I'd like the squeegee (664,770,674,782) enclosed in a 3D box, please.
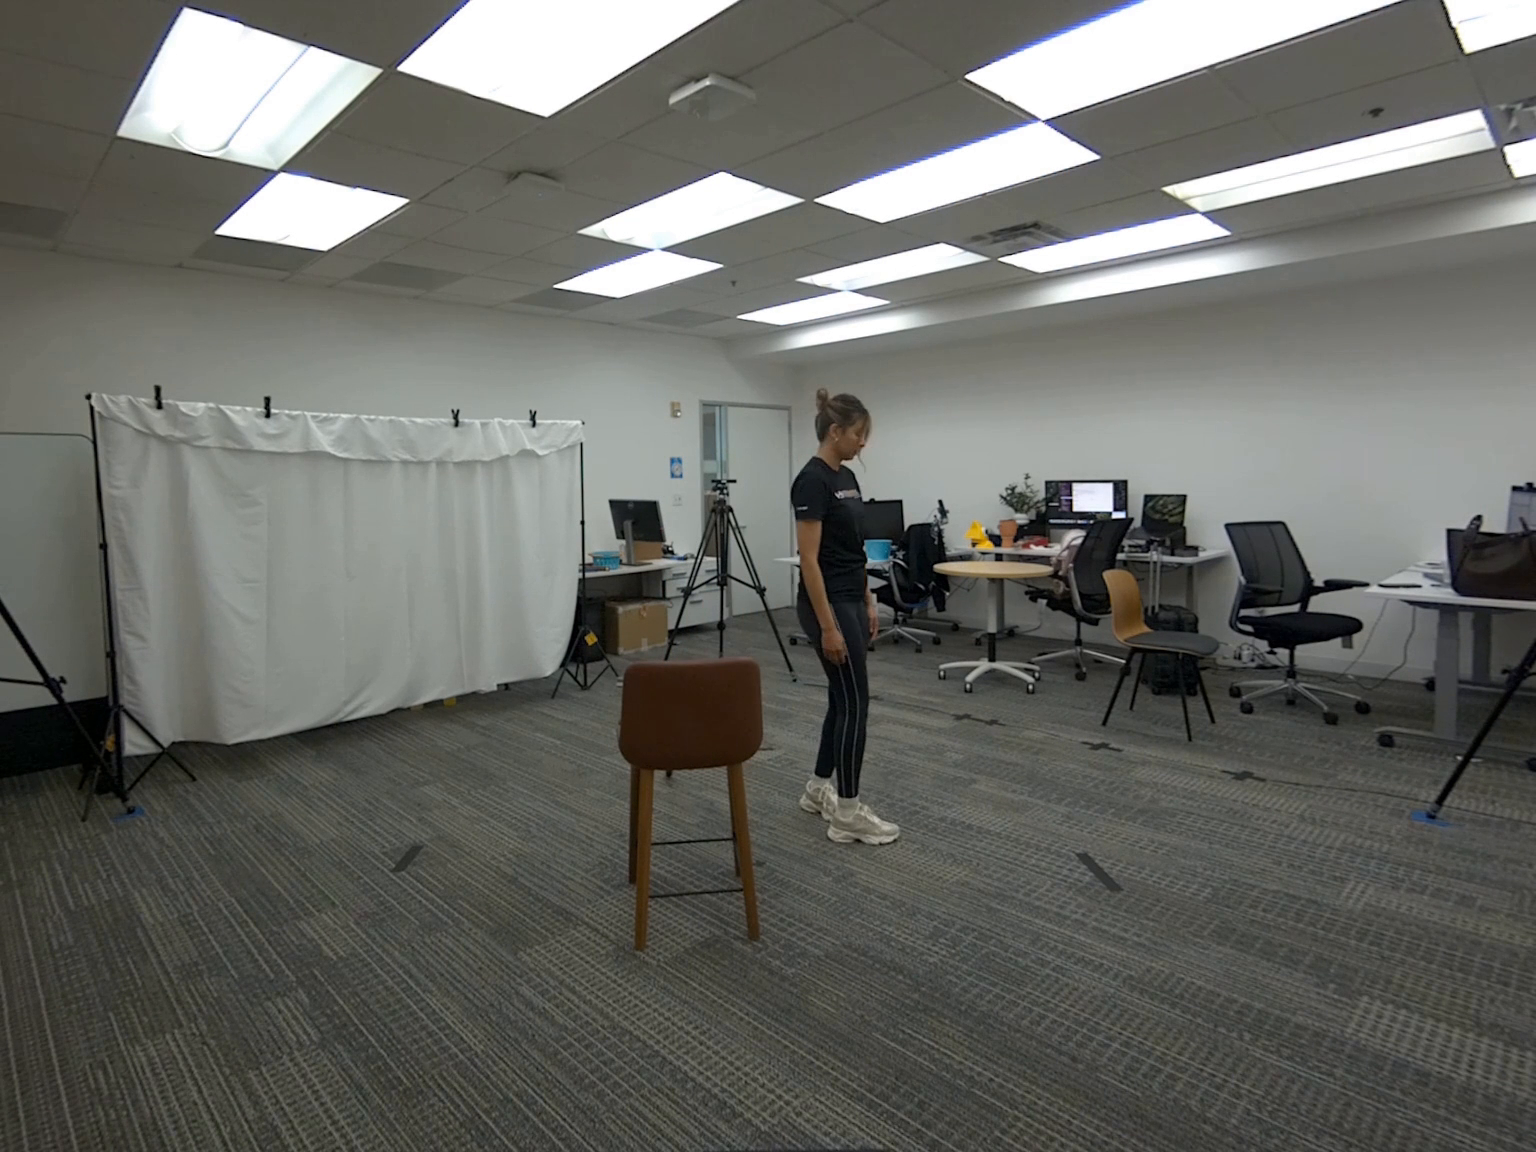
[{"bbox_3d":[-0.363,0.633,3.381,0.437,0.054,1.517,18,-25,-2],"label":"squeegee"}]
